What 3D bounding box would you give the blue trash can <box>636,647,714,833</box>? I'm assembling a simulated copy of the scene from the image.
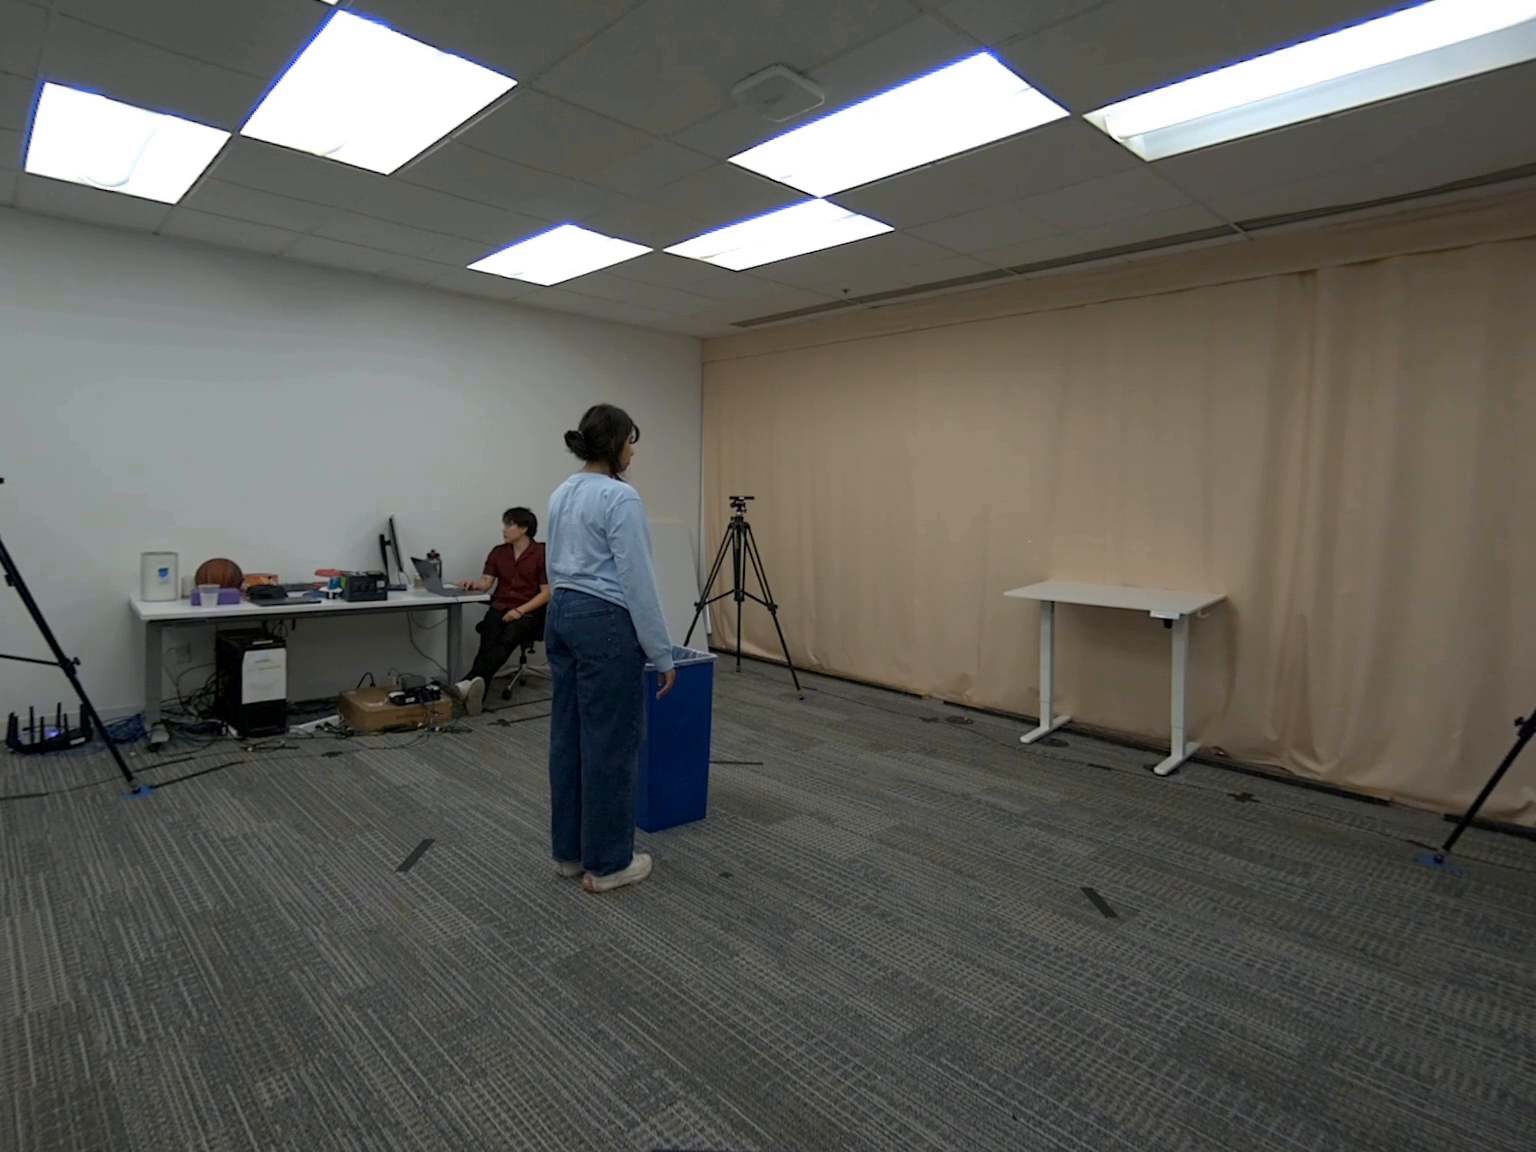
[{"bbox_3d":[-0.479,0.691,3.656,0.365,0.712,0.387,-2,4,-41],"label":"blue trash can"}]
